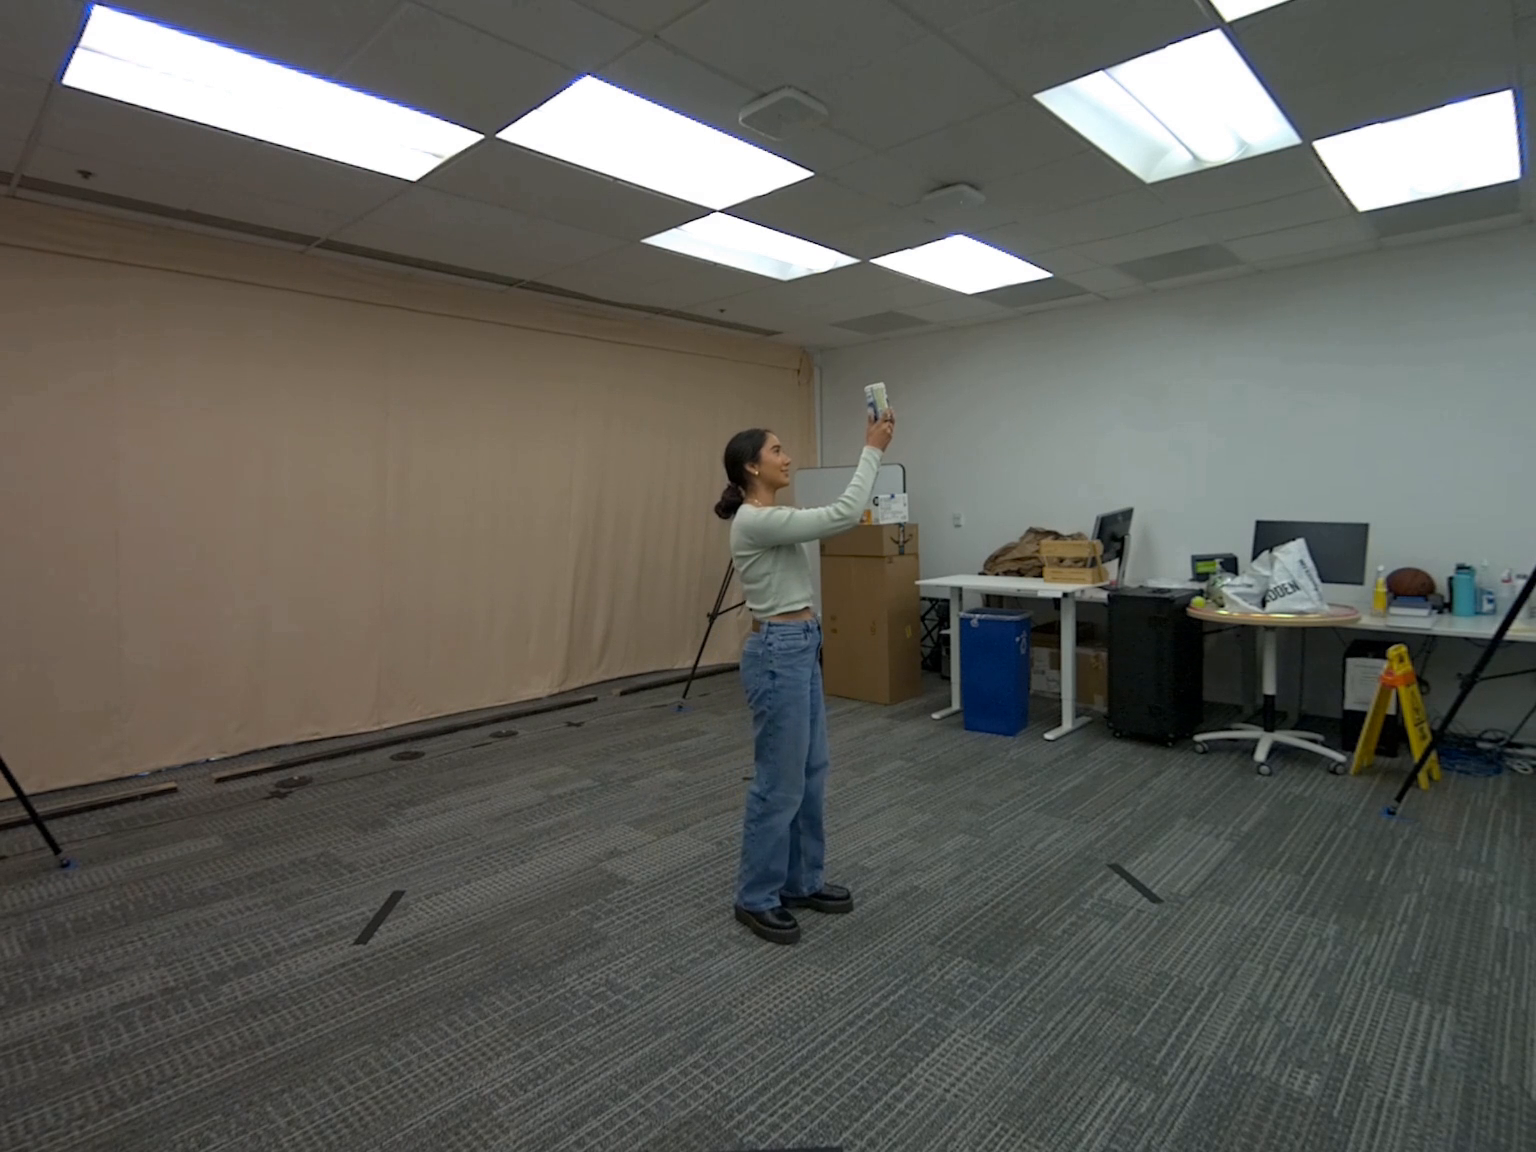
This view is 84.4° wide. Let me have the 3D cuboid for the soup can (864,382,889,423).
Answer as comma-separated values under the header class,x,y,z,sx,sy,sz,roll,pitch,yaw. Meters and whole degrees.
class,x,y,z,sx,sy,sz,roll,pitch,yaw
soup can,0.356,-0.559,2.726,0.067,0.121,0.067,-11,1,-1
